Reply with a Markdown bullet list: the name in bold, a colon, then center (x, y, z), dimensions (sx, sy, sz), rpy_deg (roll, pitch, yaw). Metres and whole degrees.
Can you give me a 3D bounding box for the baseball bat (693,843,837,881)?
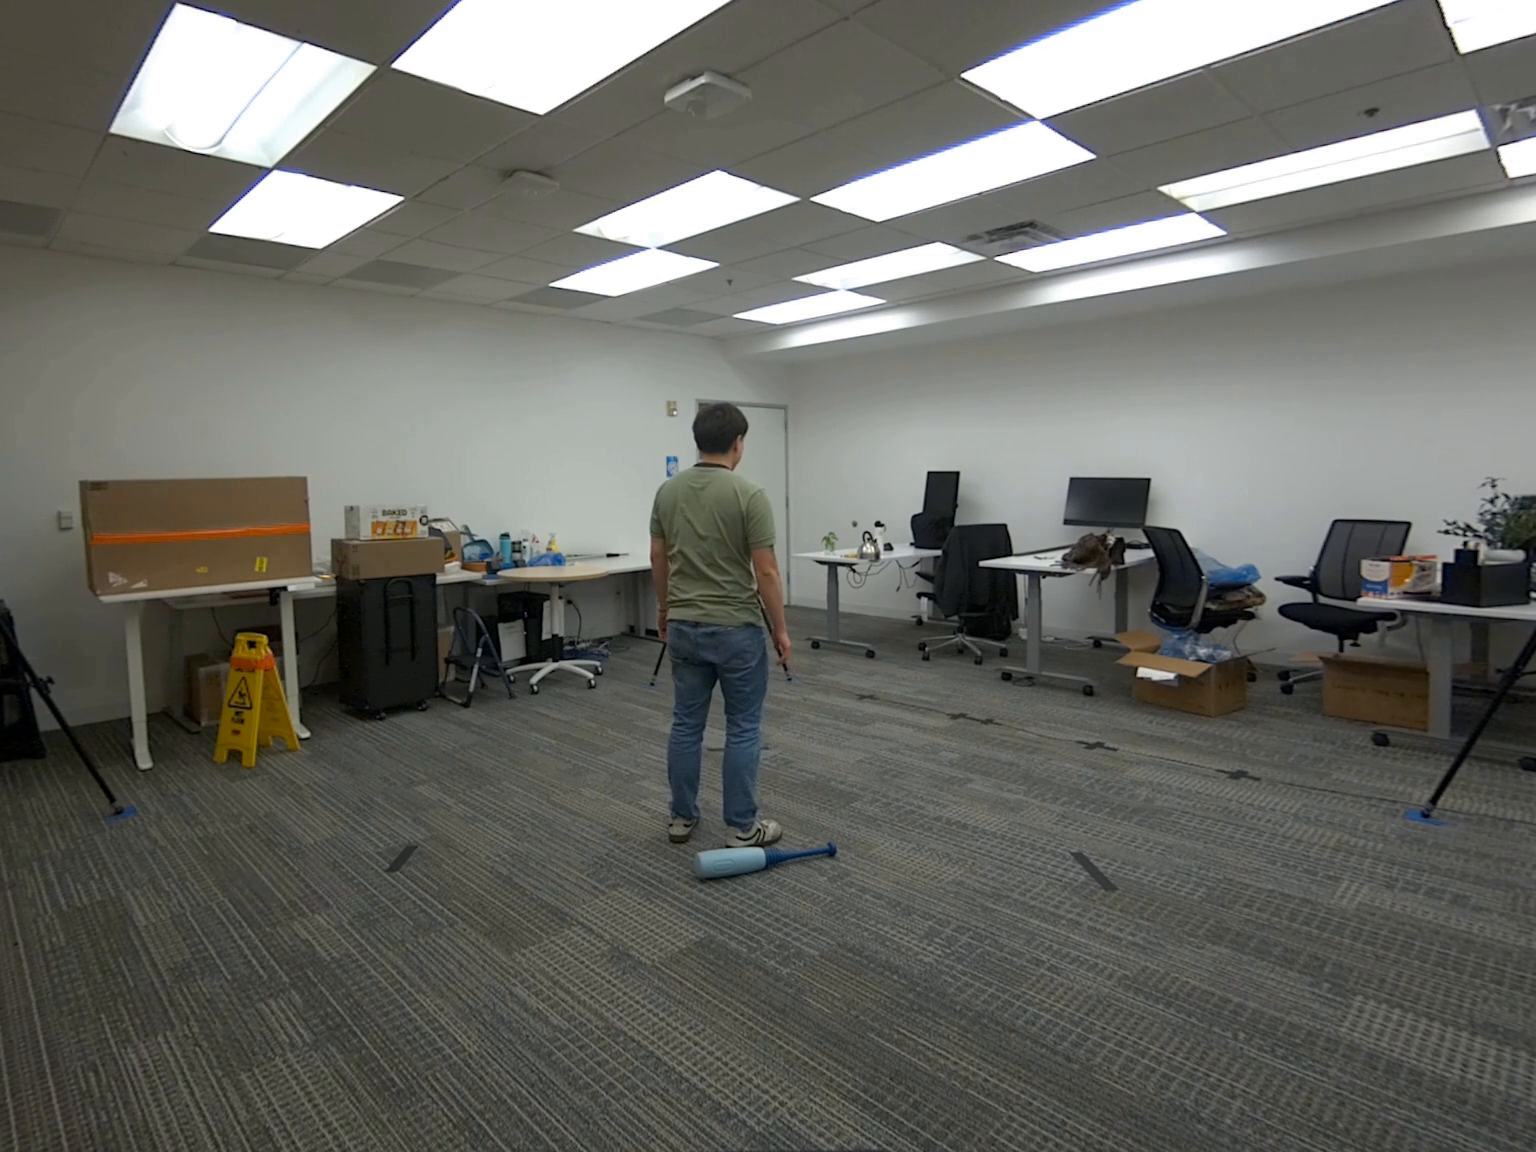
- **baseball bat**: center (-0.004, 1.007, 3.076), dimensions (0.534, 0.089, 0.091), rpy_deg (3, 3, -17)
